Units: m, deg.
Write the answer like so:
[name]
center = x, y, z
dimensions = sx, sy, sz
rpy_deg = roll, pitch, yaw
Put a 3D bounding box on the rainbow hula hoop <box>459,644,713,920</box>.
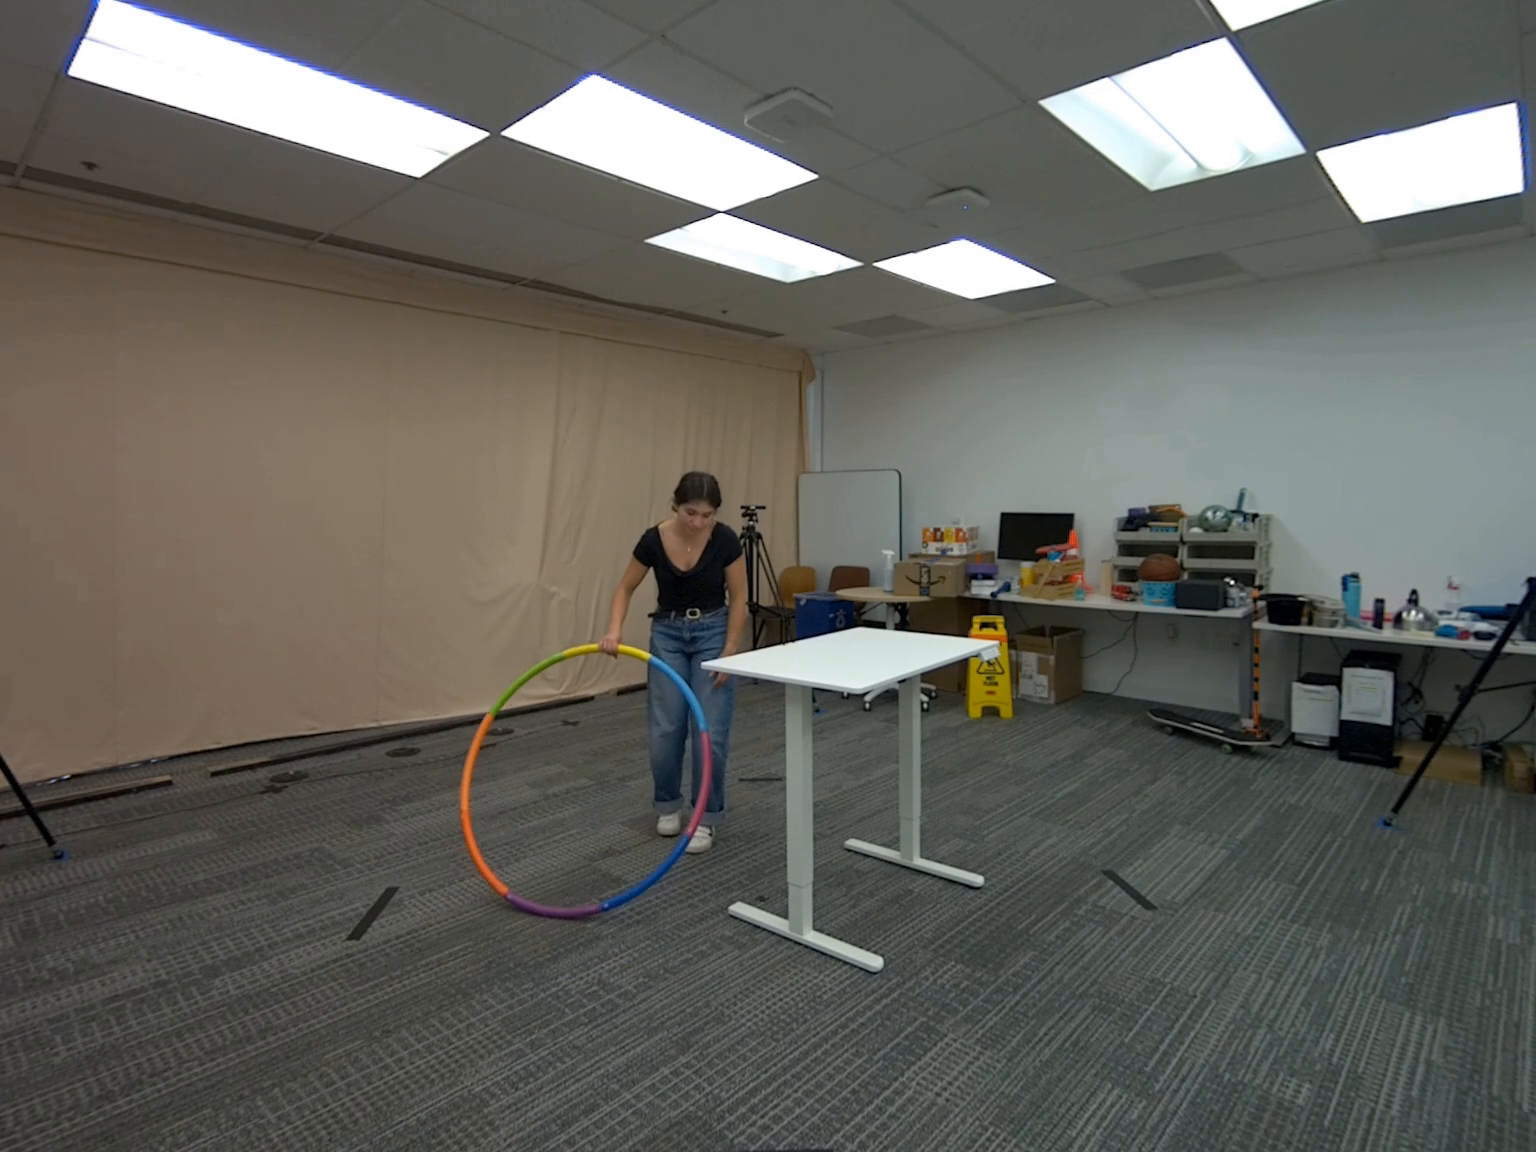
[rainbow hula hoop]
center = -0.673, 0.719, 3.073
dimensions = 0.997, 0.989, 0.034
rpy_deg = 1, -27, 17
